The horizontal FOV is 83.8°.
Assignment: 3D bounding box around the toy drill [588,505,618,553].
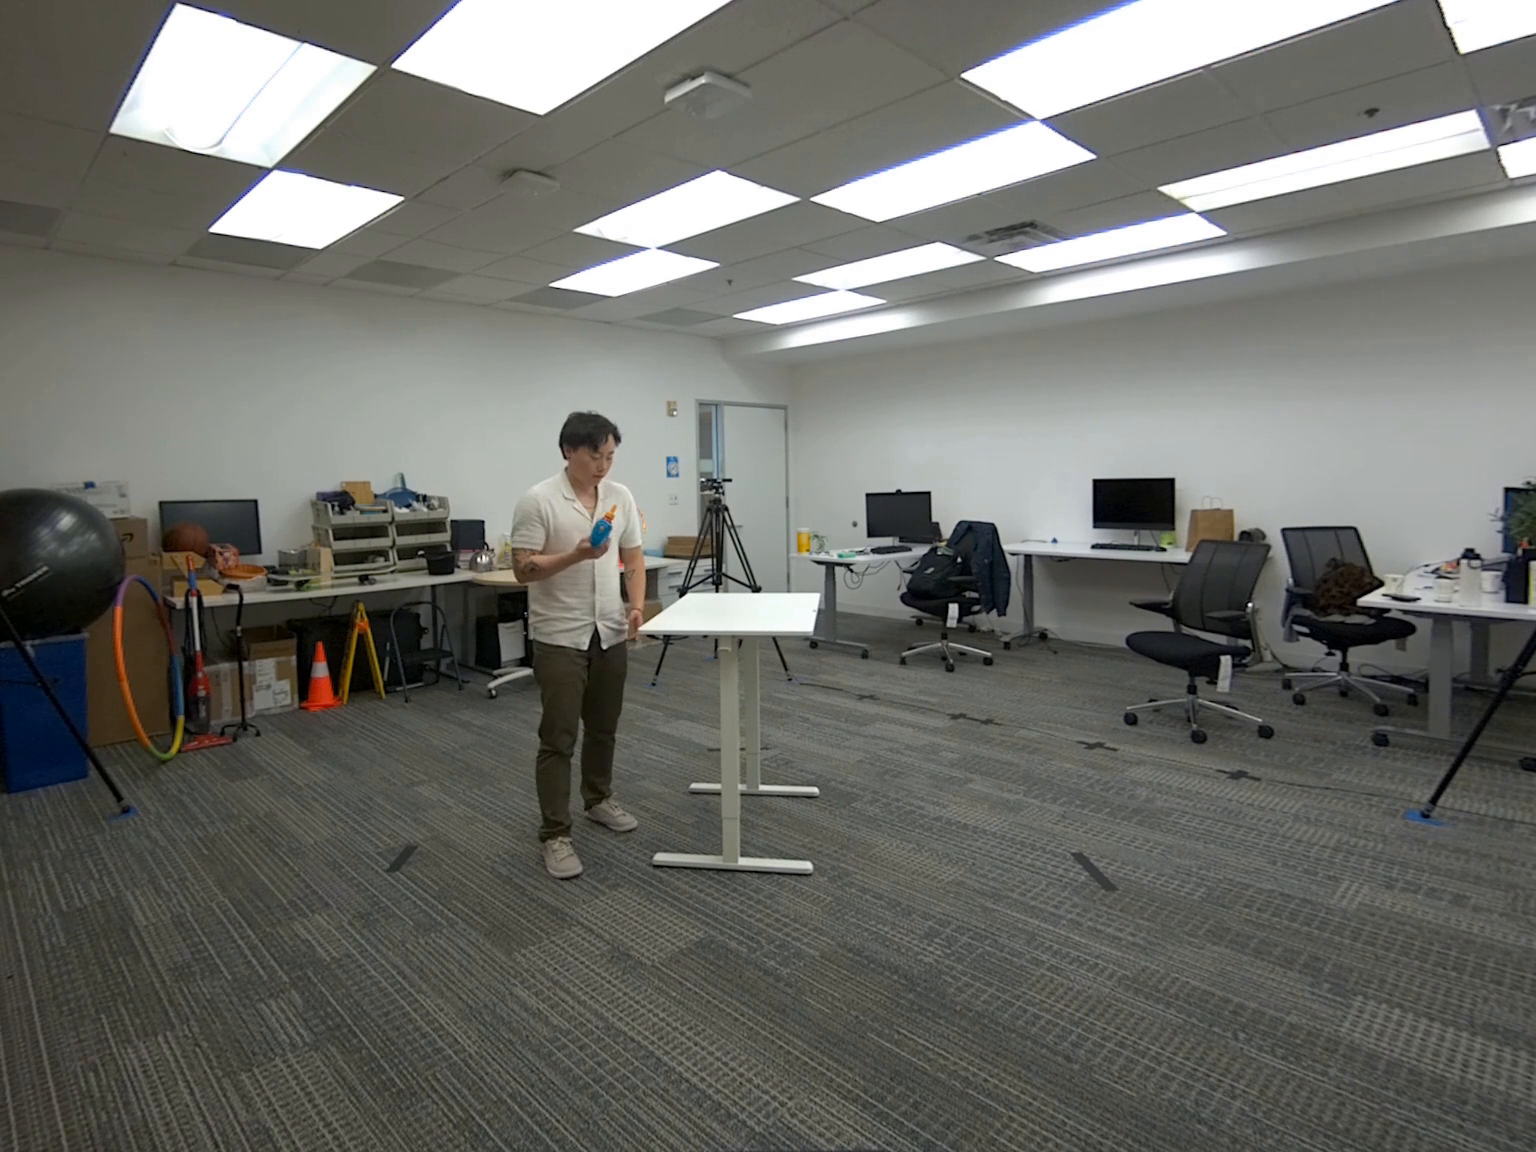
[{"bbox_3d":[-0.583,-0.170,2.984,0.060,0.171,0.147,23,-17,-12],"label":"toy drill"}]
